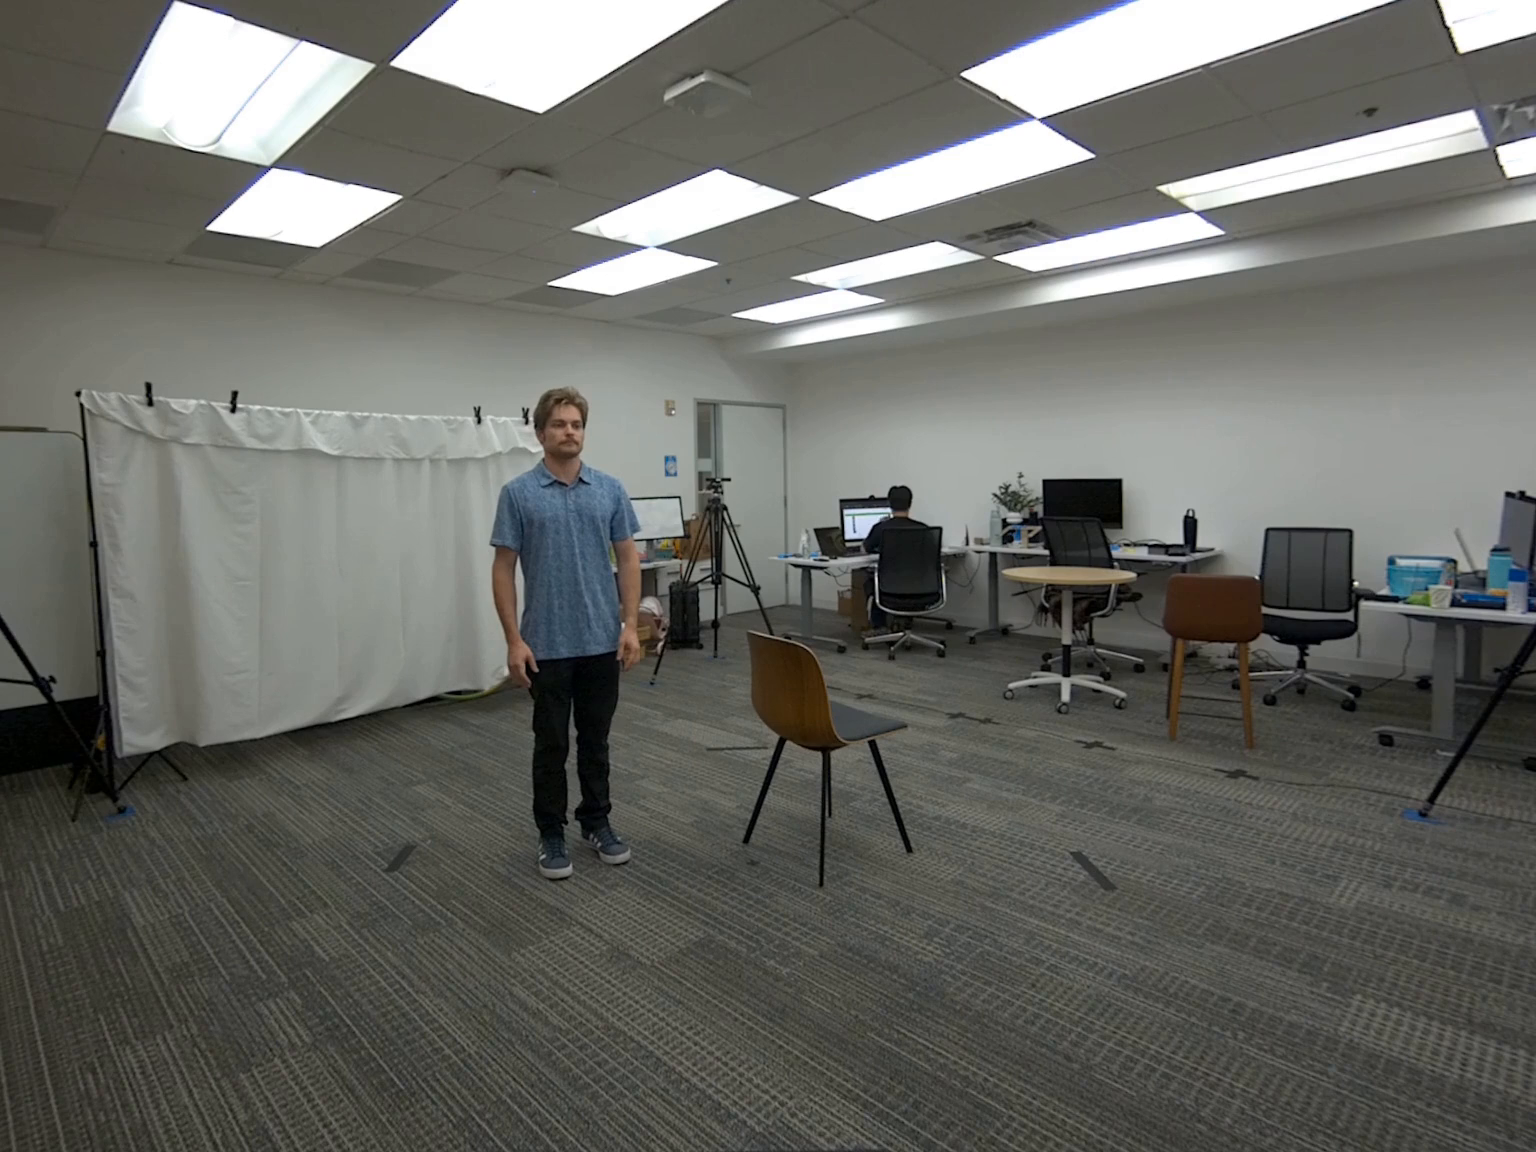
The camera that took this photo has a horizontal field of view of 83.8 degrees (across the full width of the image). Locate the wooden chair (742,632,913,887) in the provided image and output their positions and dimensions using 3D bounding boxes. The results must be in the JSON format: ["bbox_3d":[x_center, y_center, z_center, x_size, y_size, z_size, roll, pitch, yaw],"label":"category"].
[{"bbox_3d":[0.218,0.599,3.188,0.511,0.872,0.492,-9,8,-36],"label":"wooden chair"}]
